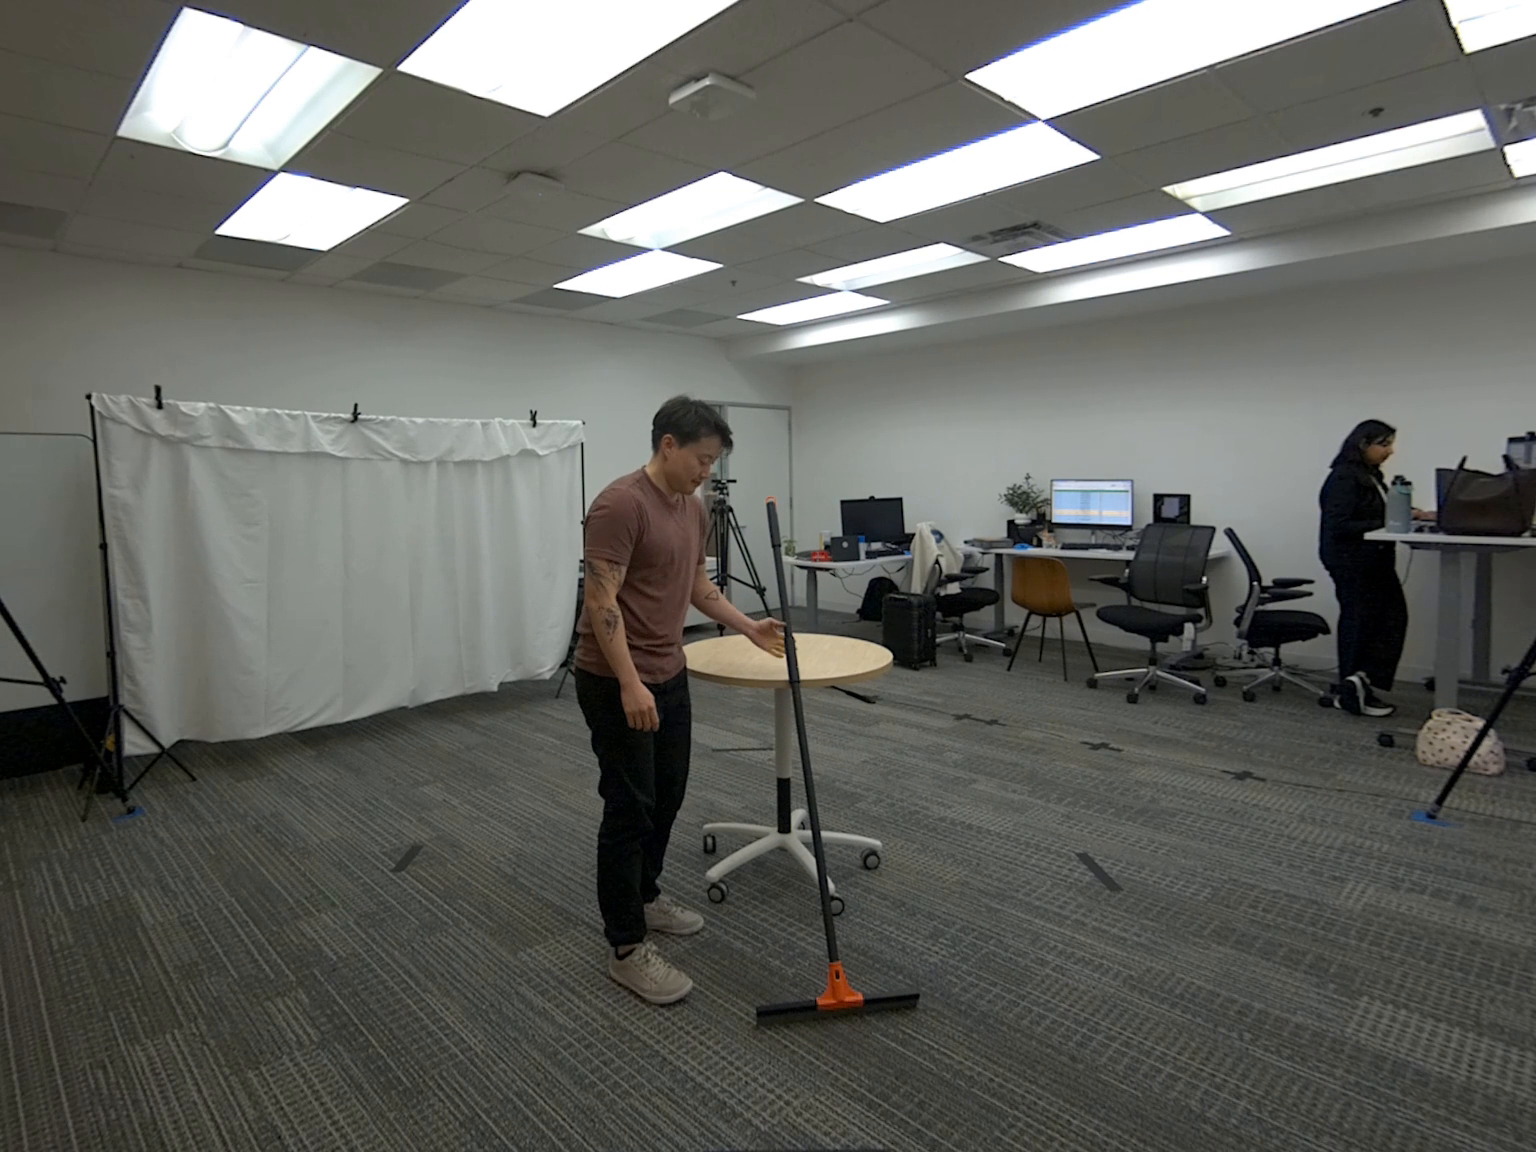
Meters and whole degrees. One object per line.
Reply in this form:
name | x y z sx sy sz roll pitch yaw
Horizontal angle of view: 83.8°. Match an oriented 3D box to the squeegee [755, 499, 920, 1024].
squeegee | 0.105 0.419 2.537 0.436 1.575 0.052 -5 -26 -4
